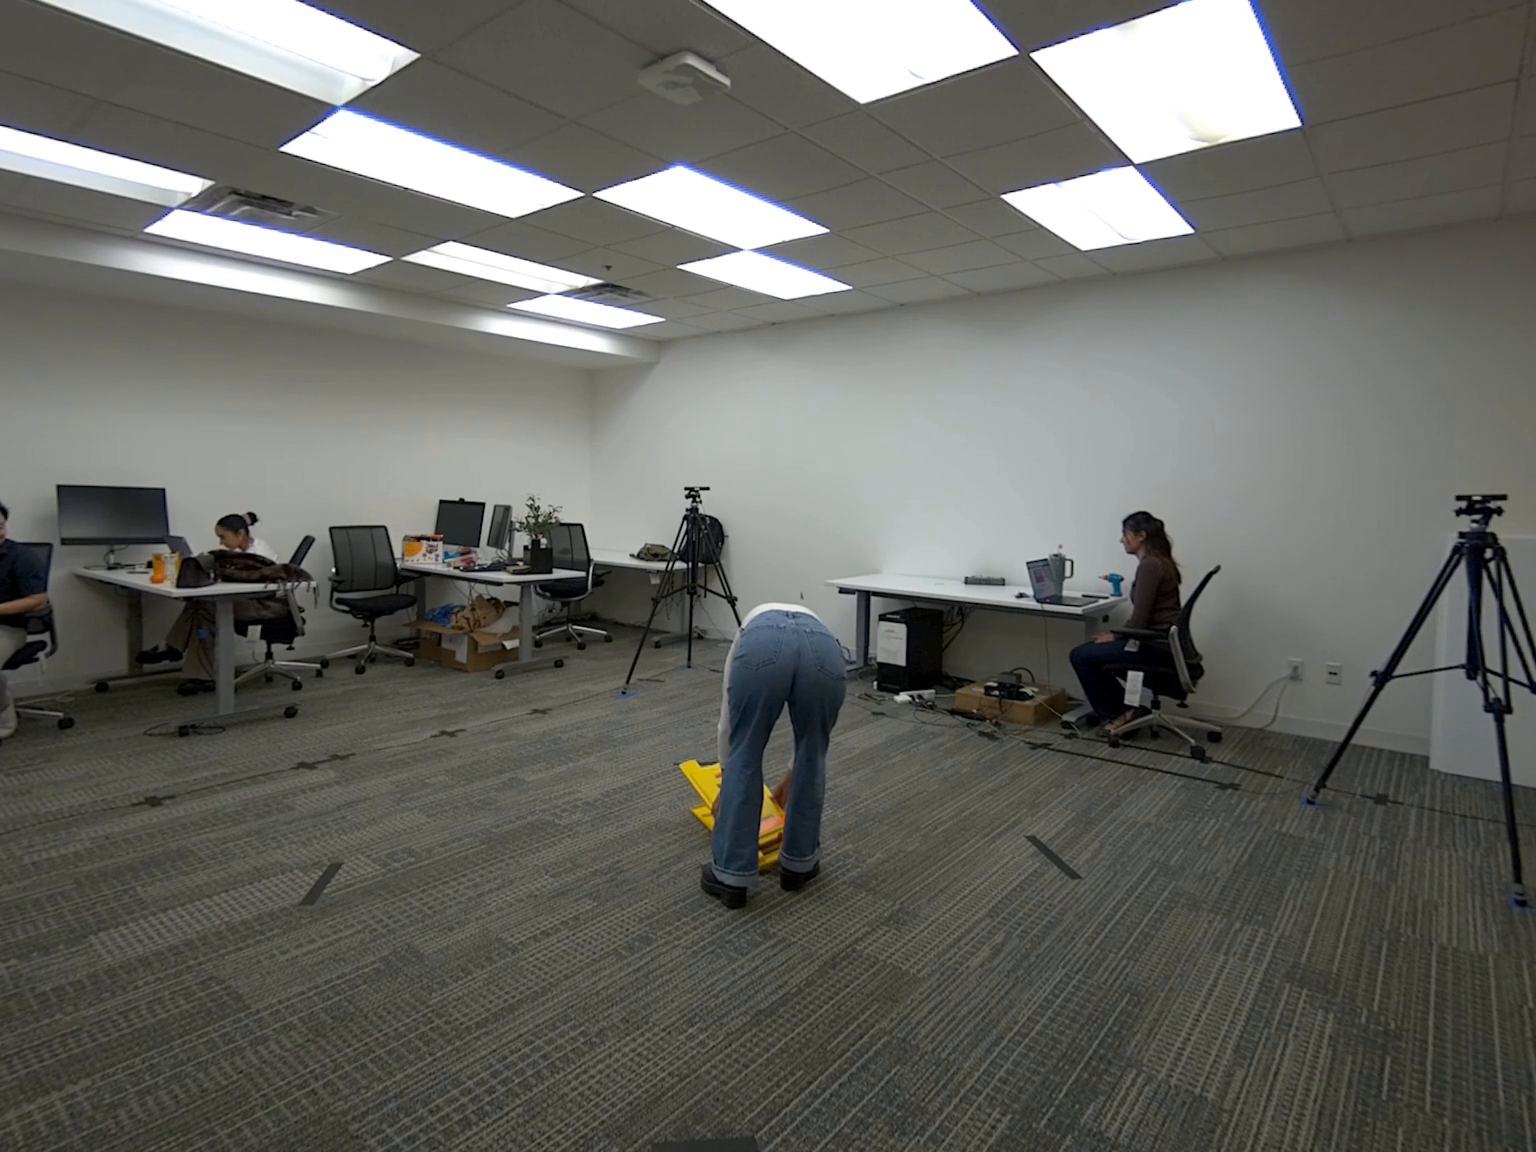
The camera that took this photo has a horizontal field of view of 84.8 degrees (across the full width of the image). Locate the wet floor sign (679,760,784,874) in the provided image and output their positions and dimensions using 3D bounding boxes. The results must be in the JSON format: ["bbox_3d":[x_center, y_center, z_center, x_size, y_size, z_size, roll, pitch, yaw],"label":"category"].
[{"bbox_3d":[-0.101,0.942,3.381,0.278,0.285,0.667,-15,18,-21],"label":"wet floor sign"}]
